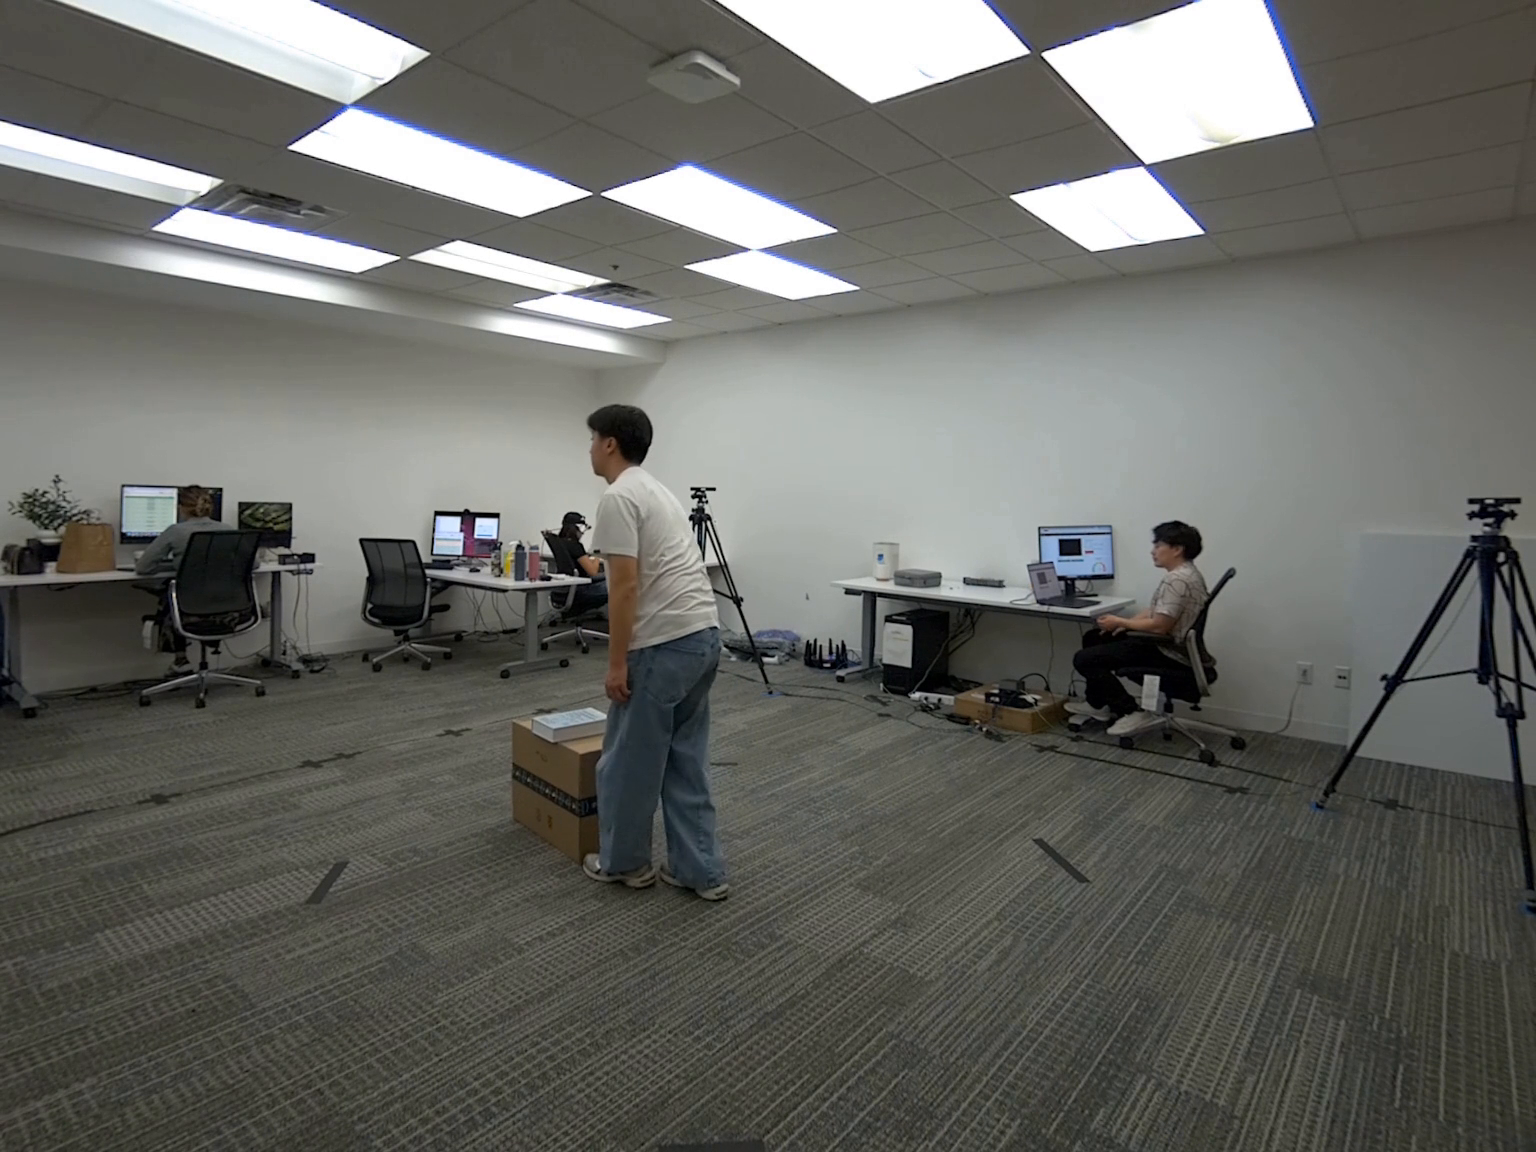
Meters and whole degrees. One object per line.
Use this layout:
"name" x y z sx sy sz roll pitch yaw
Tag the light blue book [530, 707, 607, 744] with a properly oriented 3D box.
"light blue book" -0.791 0.586 3.370 0.253 0.059 0.198 -5 8 -39
